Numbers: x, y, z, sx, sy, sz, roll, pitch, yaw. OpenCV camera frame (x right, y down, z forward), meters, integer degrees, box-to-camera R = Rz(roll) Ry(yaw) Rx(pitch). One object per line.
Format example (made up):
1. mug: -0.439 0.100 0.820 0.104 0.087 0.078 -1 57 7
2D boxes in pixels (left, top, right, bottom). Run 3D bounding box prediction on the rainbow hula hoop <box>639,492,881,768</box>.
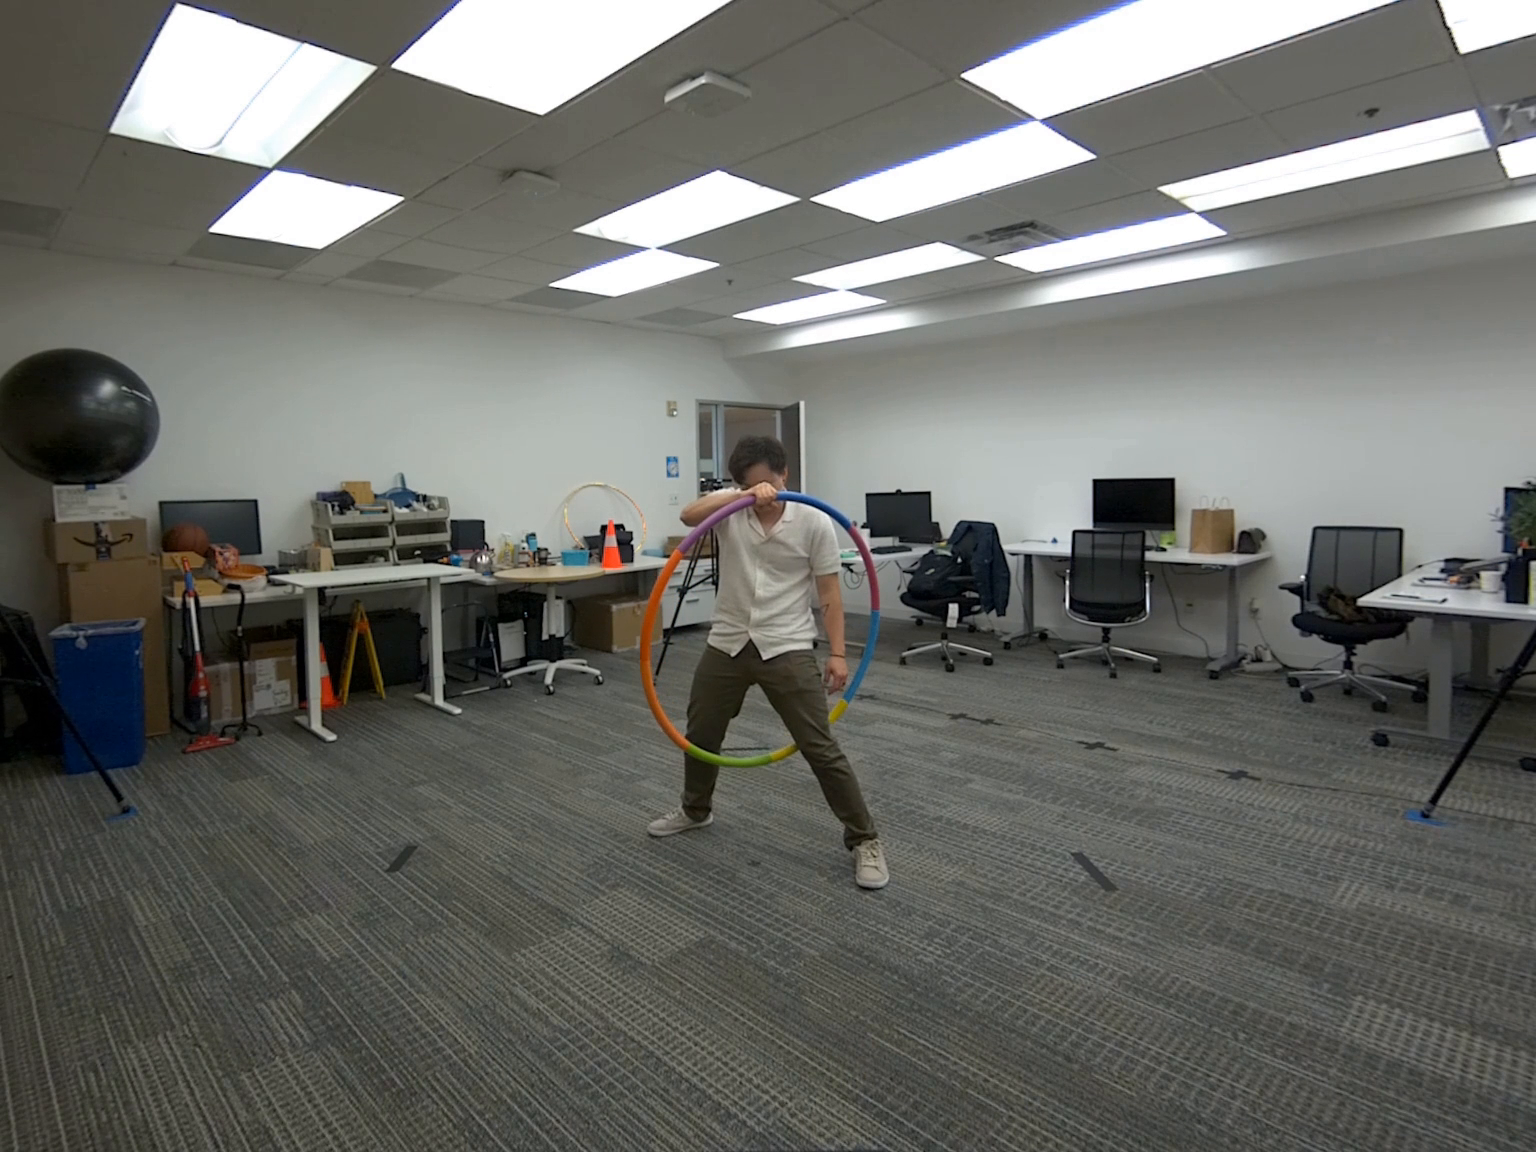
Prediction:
1. rainbow hula hoop: 0.002 0.187 2.975 0.955 0.969 0.037 -4 14 -31
